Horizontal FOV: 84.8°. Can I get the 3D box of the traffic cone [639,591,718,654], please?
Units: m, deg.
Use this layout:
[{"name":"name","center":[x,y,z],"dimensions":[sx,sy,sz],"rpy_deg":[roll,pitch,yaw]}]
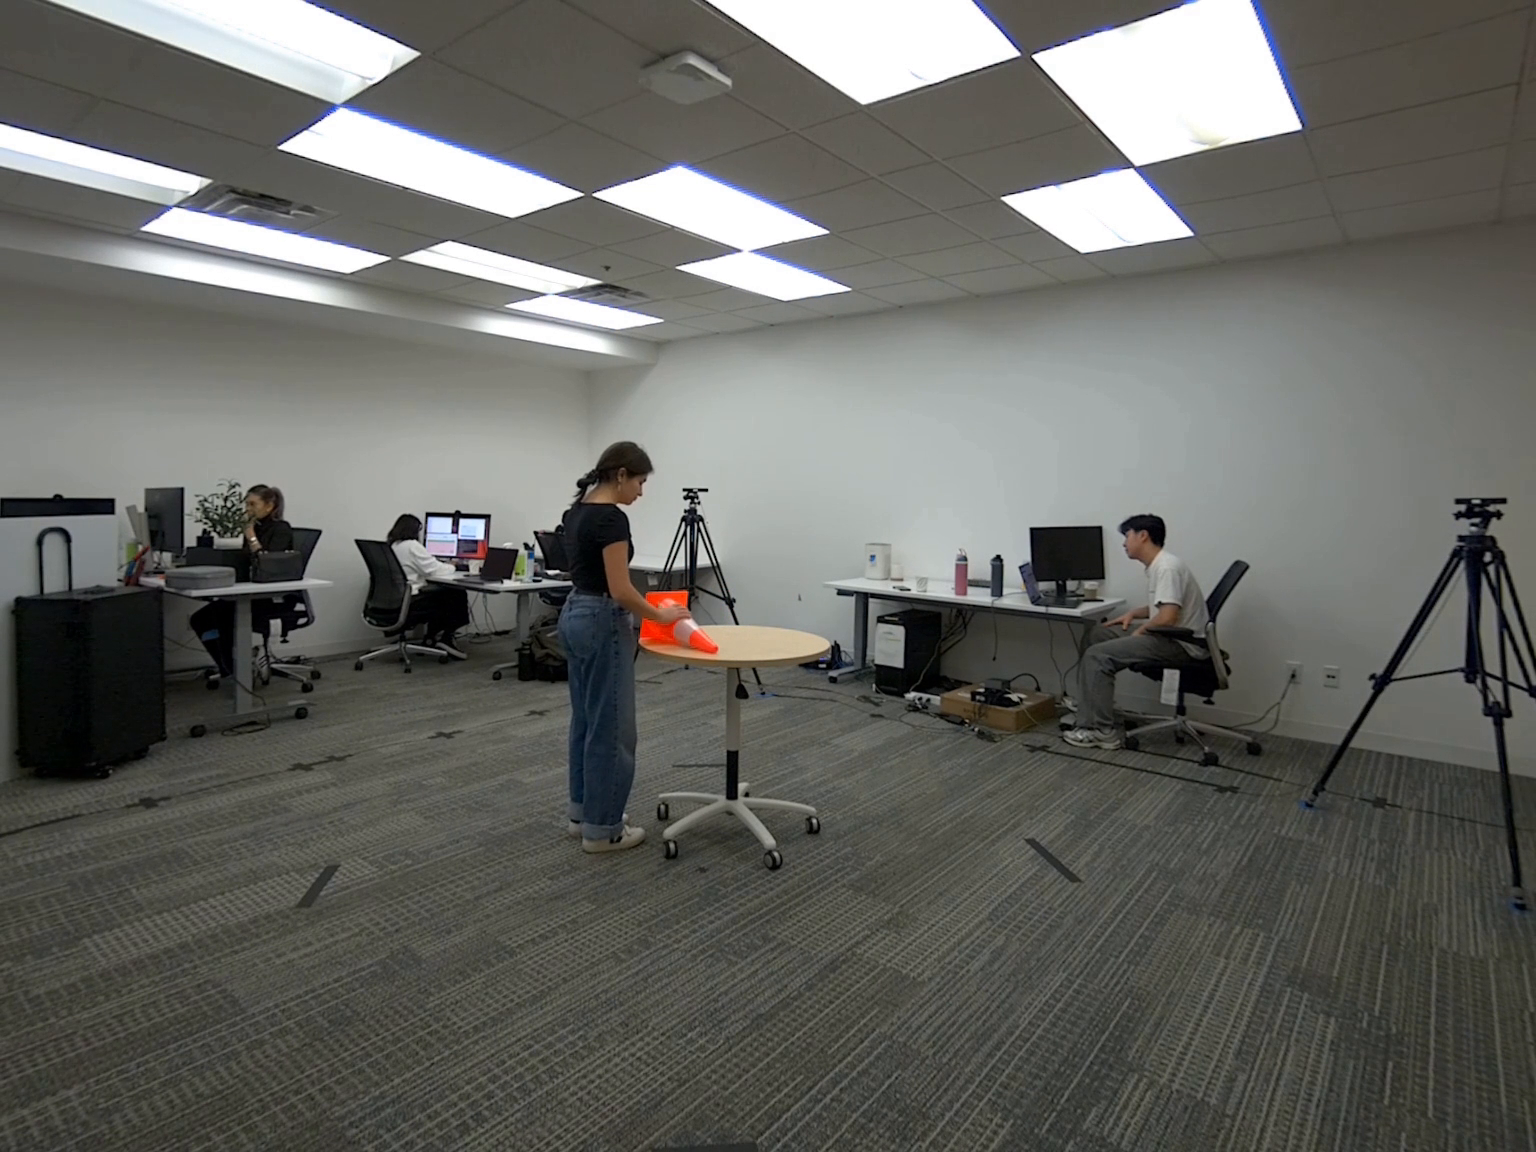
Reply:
[{"name":"traffic cone","center":[-0.314,0.212,3.298],"dimensions":[0.197,0.203,0.399],"rpy_deg":[-1,18,-37]}]
